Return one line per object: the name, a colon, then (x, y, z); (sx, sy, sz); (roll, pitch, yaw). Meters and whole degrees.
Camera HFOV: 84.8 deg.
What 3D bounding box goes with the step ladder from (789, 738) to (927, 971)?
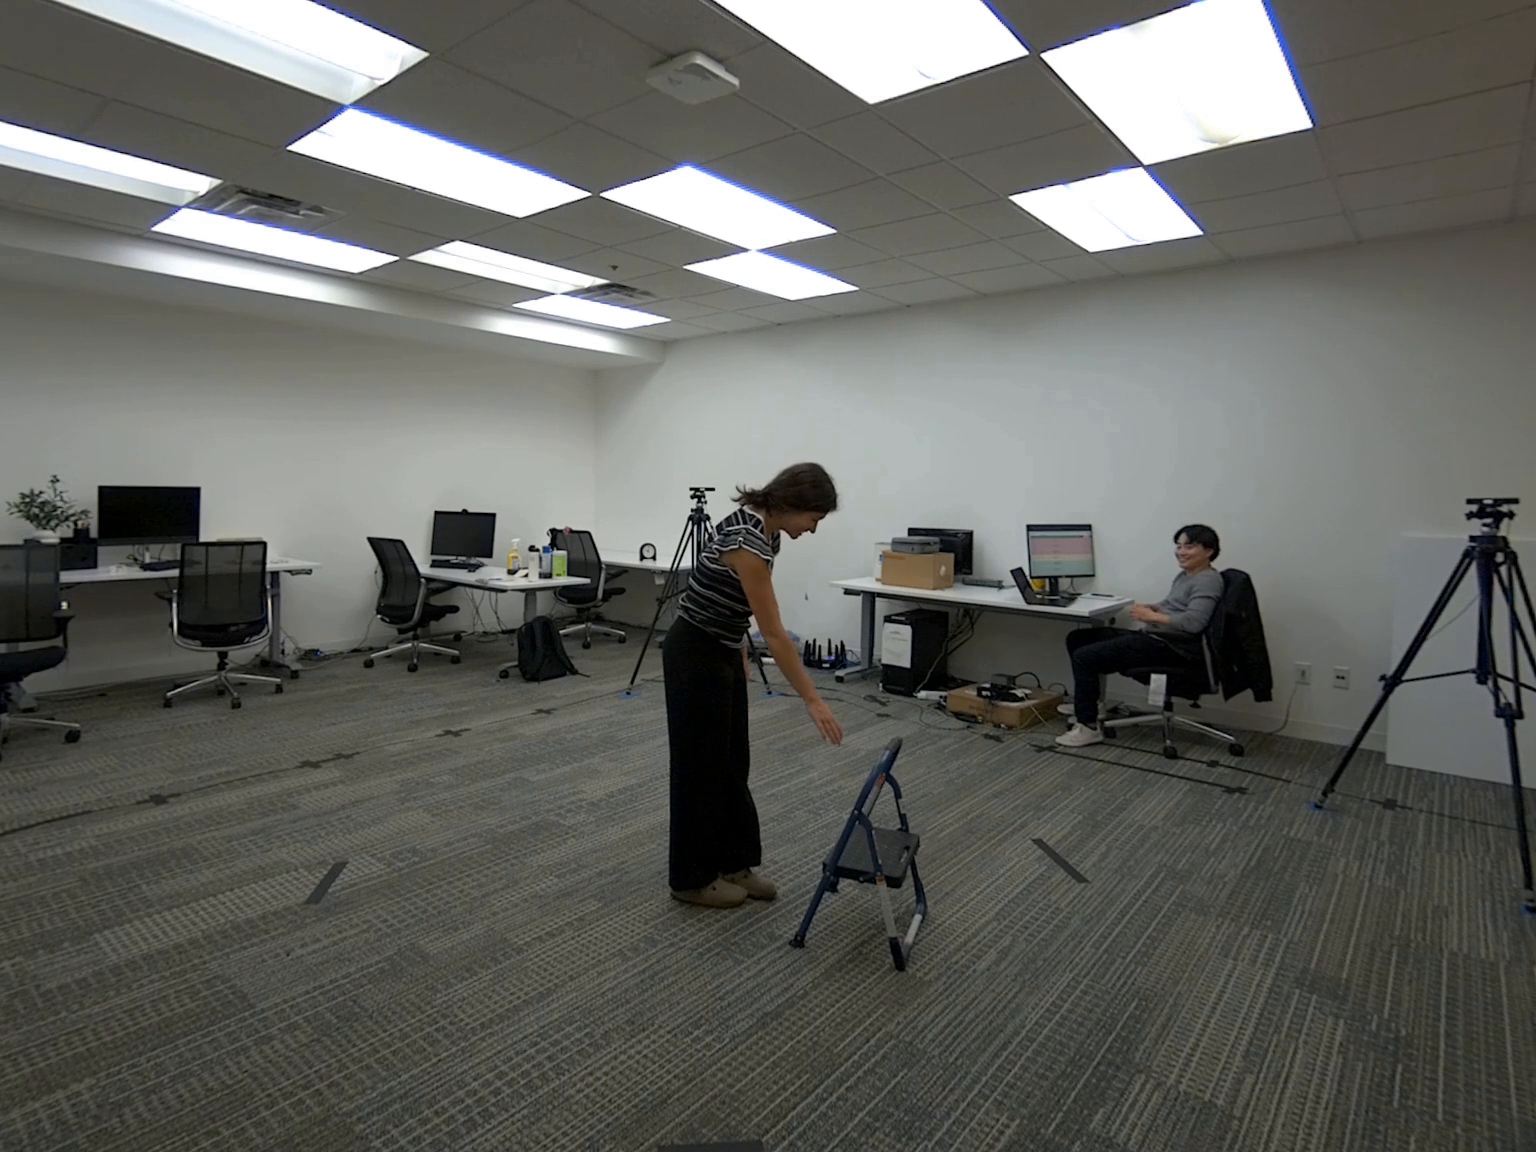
step ladder: (0.301, 0.815, 2.702); (0.357, 0.604, 0.422); (3, 4, 21)
